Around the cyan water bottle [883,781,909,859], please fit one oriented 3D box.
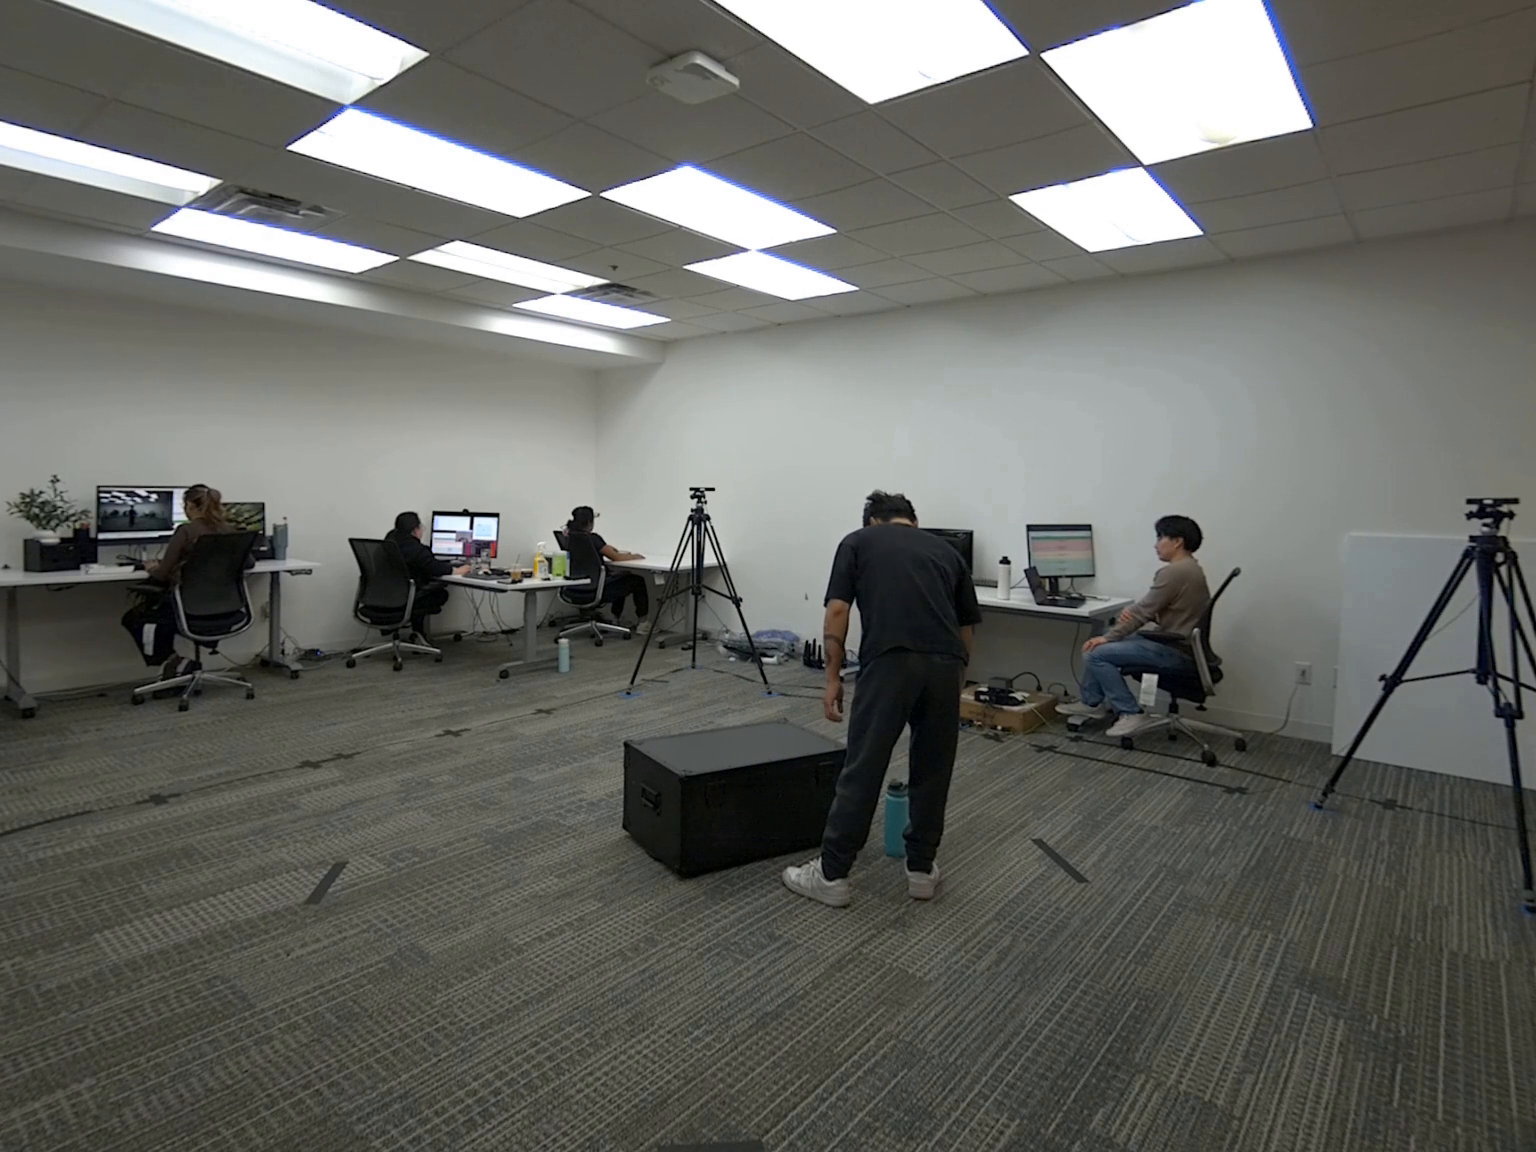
[{"bbox_3d":[0.491,0.921,3.283,0.092,0.282,0.093,2,3,-2],"label":"cyan water bottle"}]
